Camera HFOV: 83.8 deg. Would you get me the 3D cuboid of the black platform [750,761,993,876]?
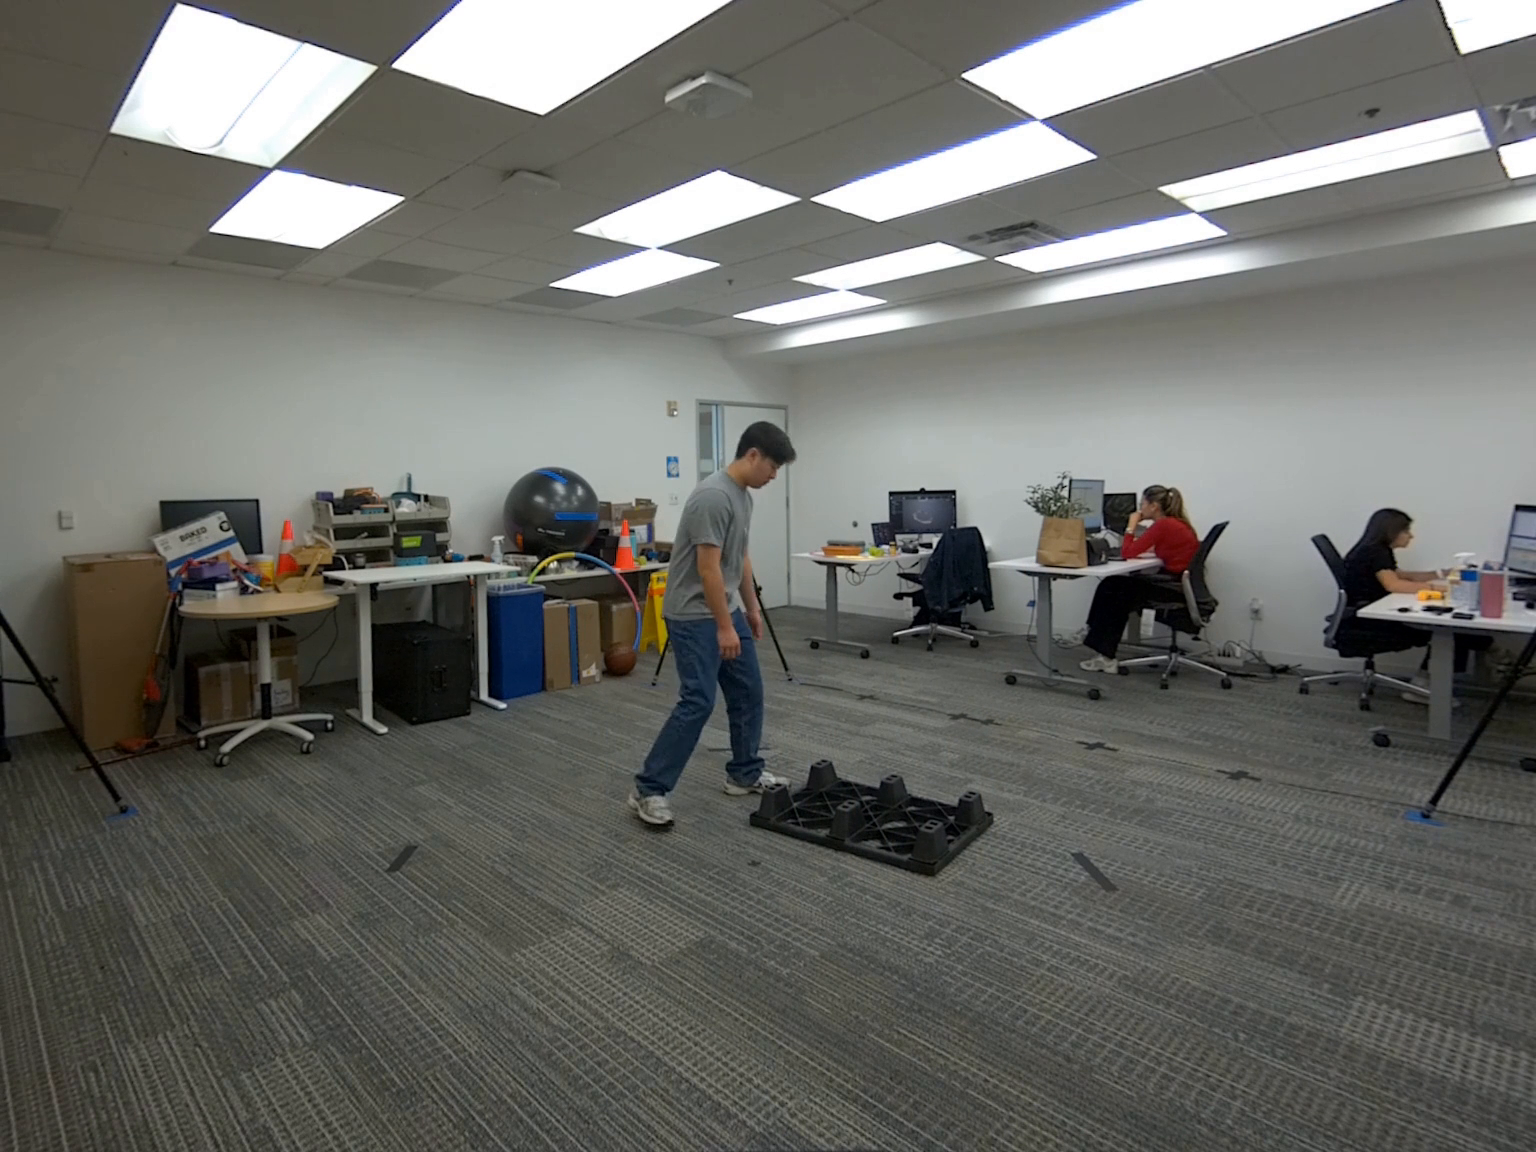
[{"bbox_3d":[0.422,0.934,3.439,0.829,0.142,0.590,4,8,36],"label":"black platform"}]
